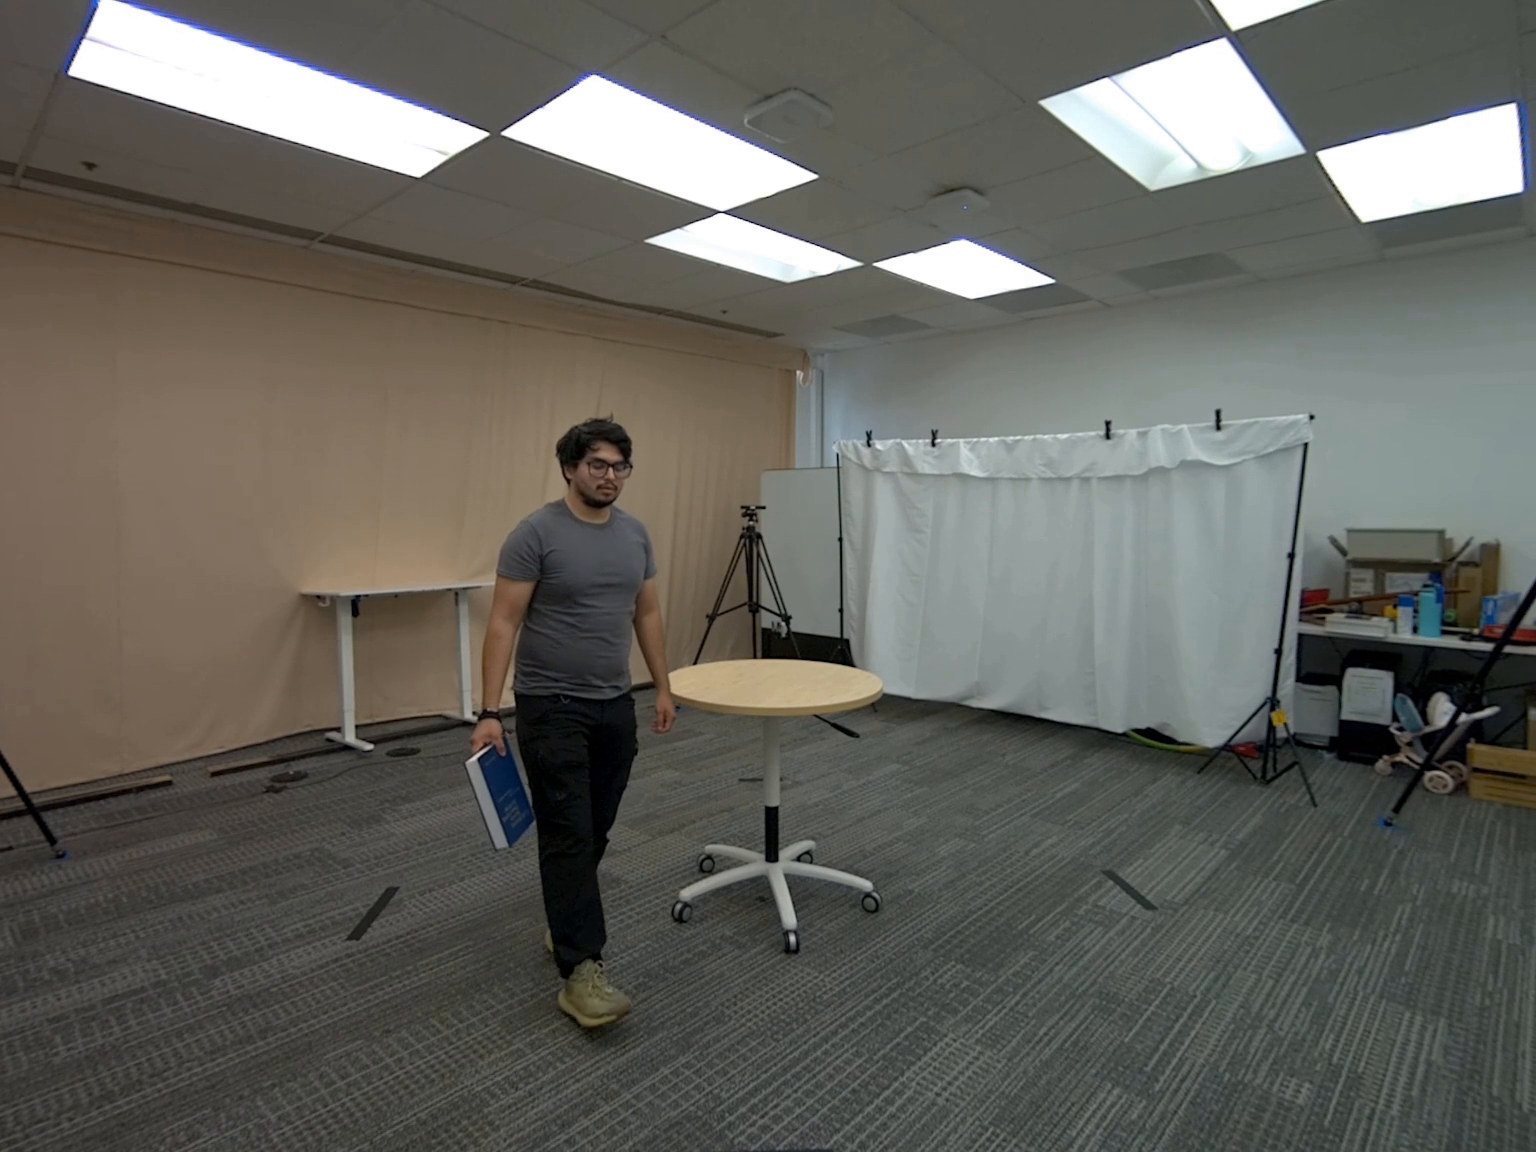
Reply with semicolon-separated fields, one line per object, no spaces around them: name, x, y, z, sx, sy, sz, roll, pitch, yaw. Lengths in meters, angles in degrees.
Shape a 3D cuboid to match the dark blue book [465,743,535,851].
dark blue book;-0.698;0.562;2.191;0.045;0.244;0.163;-12;6;7
